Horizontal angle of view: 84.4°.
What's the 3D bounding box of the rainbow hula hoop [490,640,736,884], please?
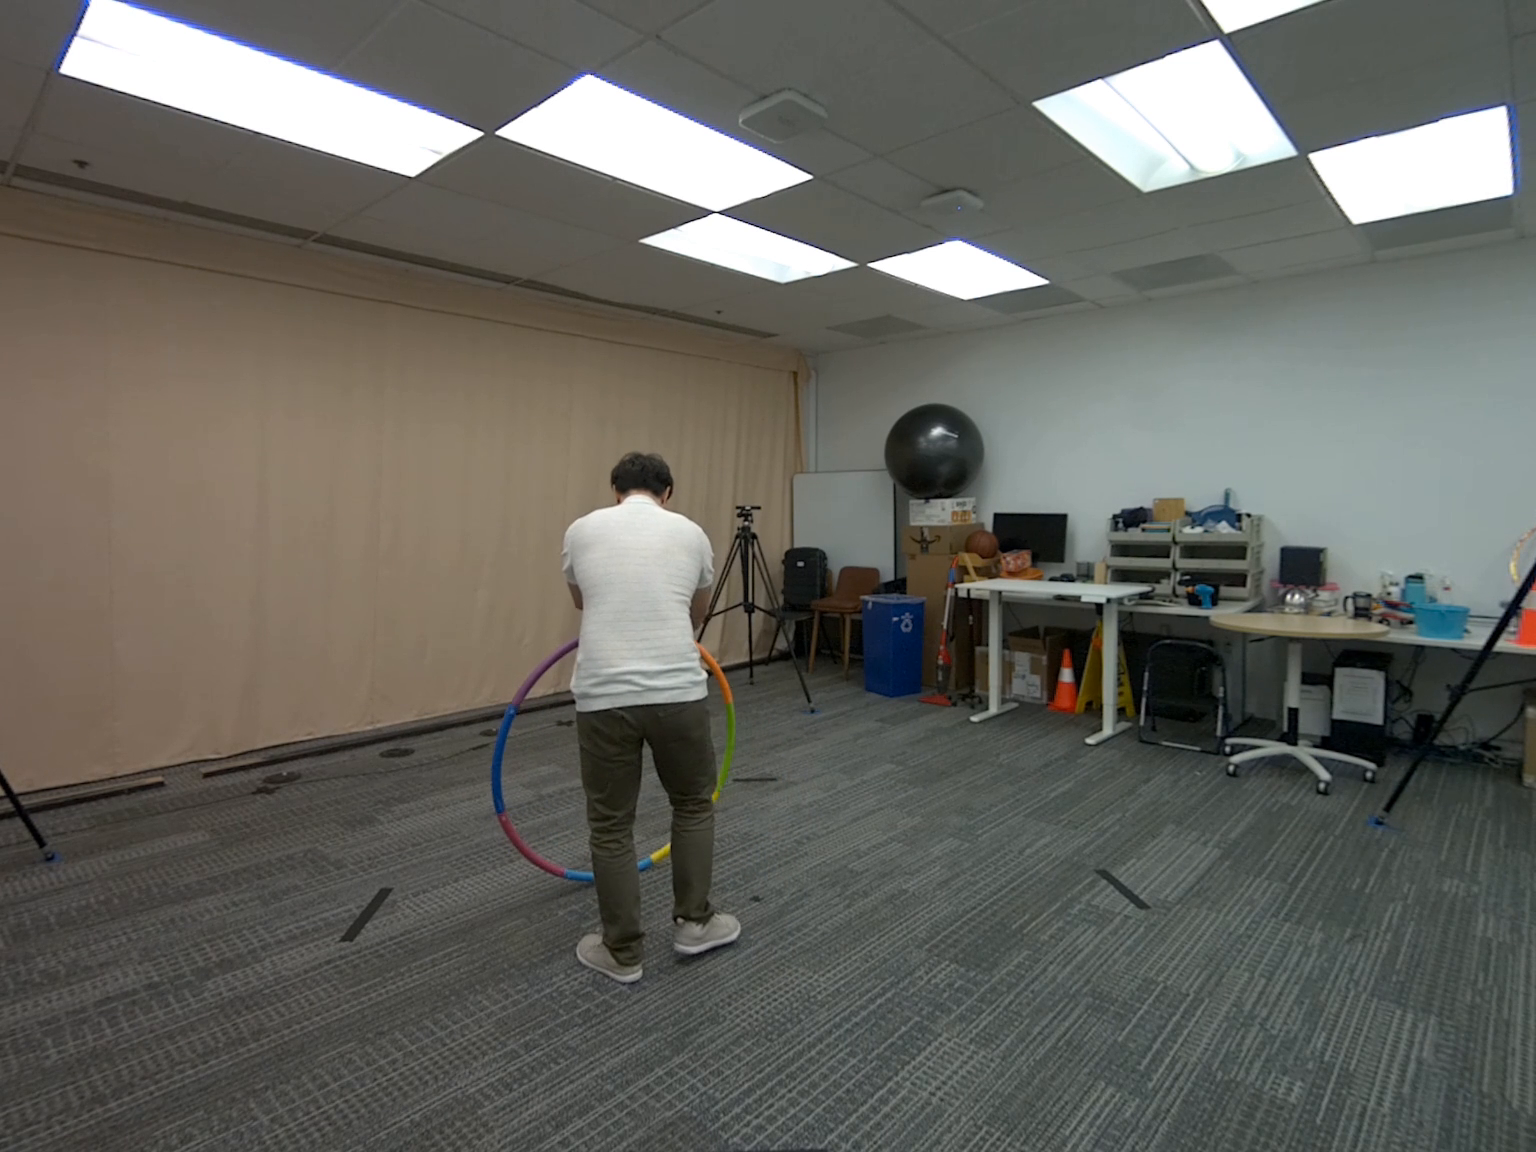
[{"bbox_3d":[-0.530,0.653,3.121,0.950,0.975,0.037,-2,7,-34],"label":"rainbow hula hoop"}]
